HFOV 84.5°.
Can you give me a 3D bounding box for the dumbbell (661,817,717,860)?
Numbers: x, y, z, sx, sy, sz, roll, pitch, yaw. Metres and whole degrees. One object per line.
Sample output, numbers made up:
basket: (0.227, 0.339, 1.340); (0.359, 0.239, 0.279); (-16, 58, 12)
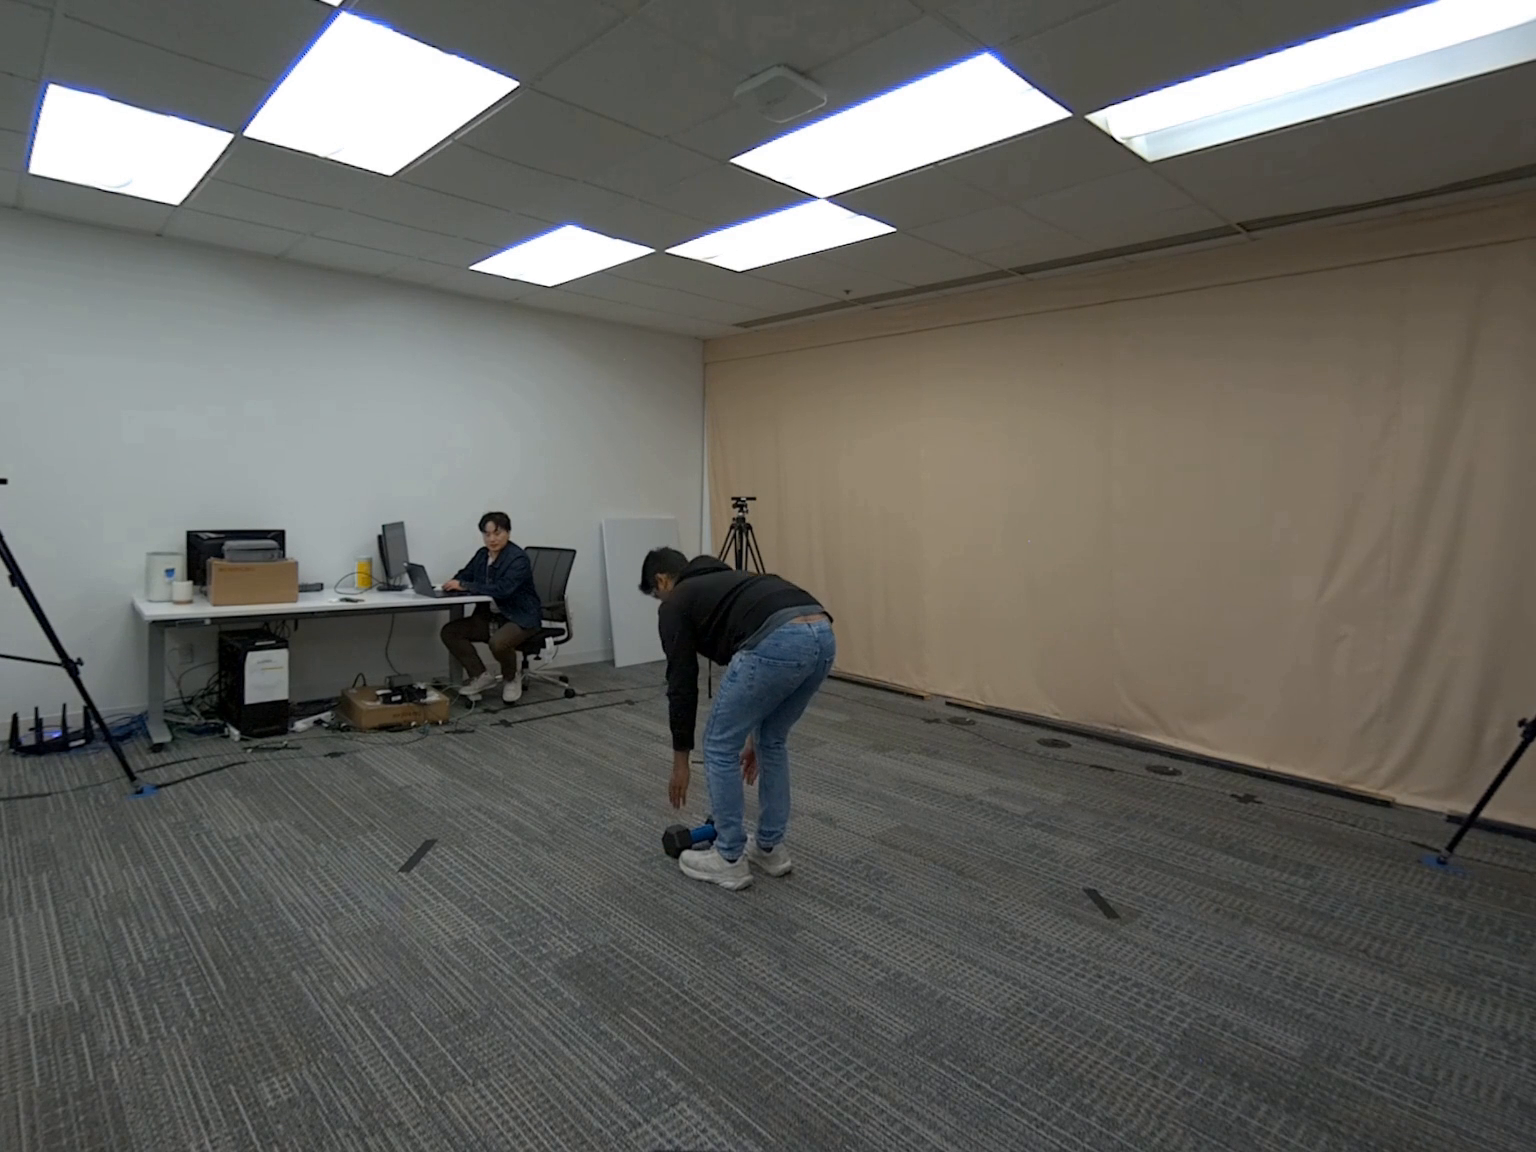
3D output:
dumbbell: (-0.282, 1.027, 3.337); (0.287, 0.125, 0.109); (-2, -27, -42)
